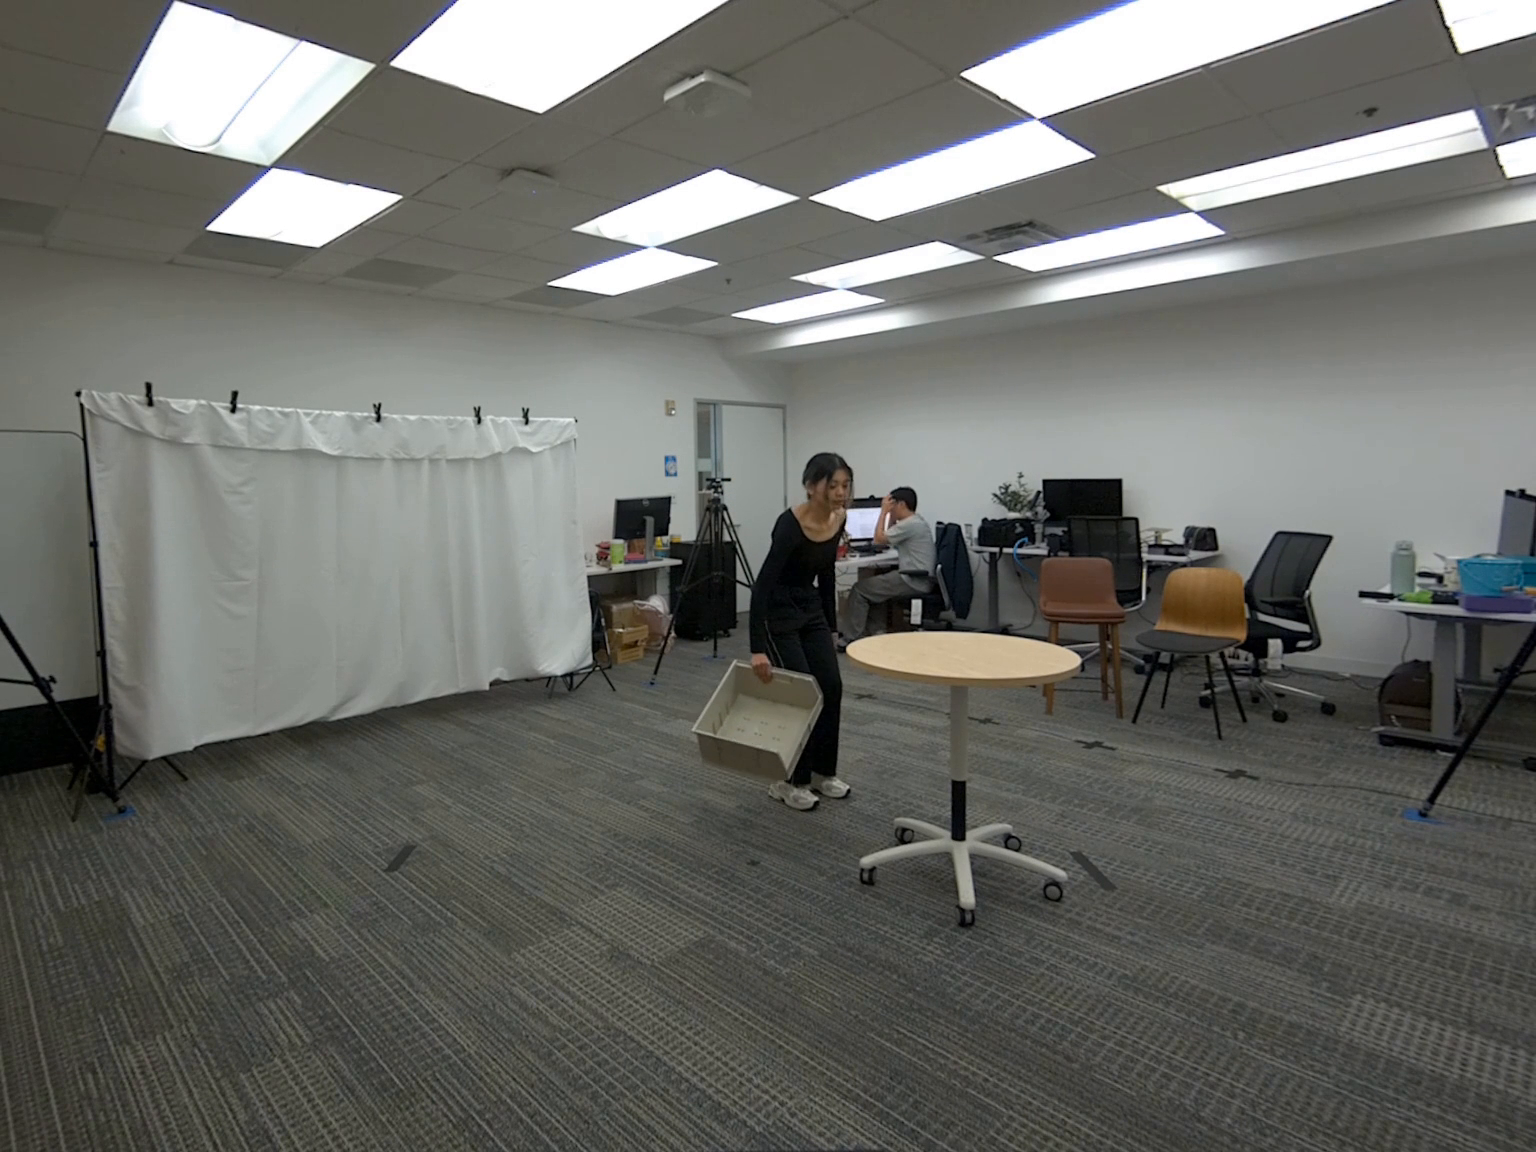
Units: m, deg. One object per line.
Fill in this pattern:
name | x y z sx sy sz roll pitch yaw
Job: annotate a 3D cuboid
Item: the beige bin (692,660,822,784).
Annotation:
beige bin | -0.027 0.569 3.329 0.386 0.183 0.425 5 37 23
